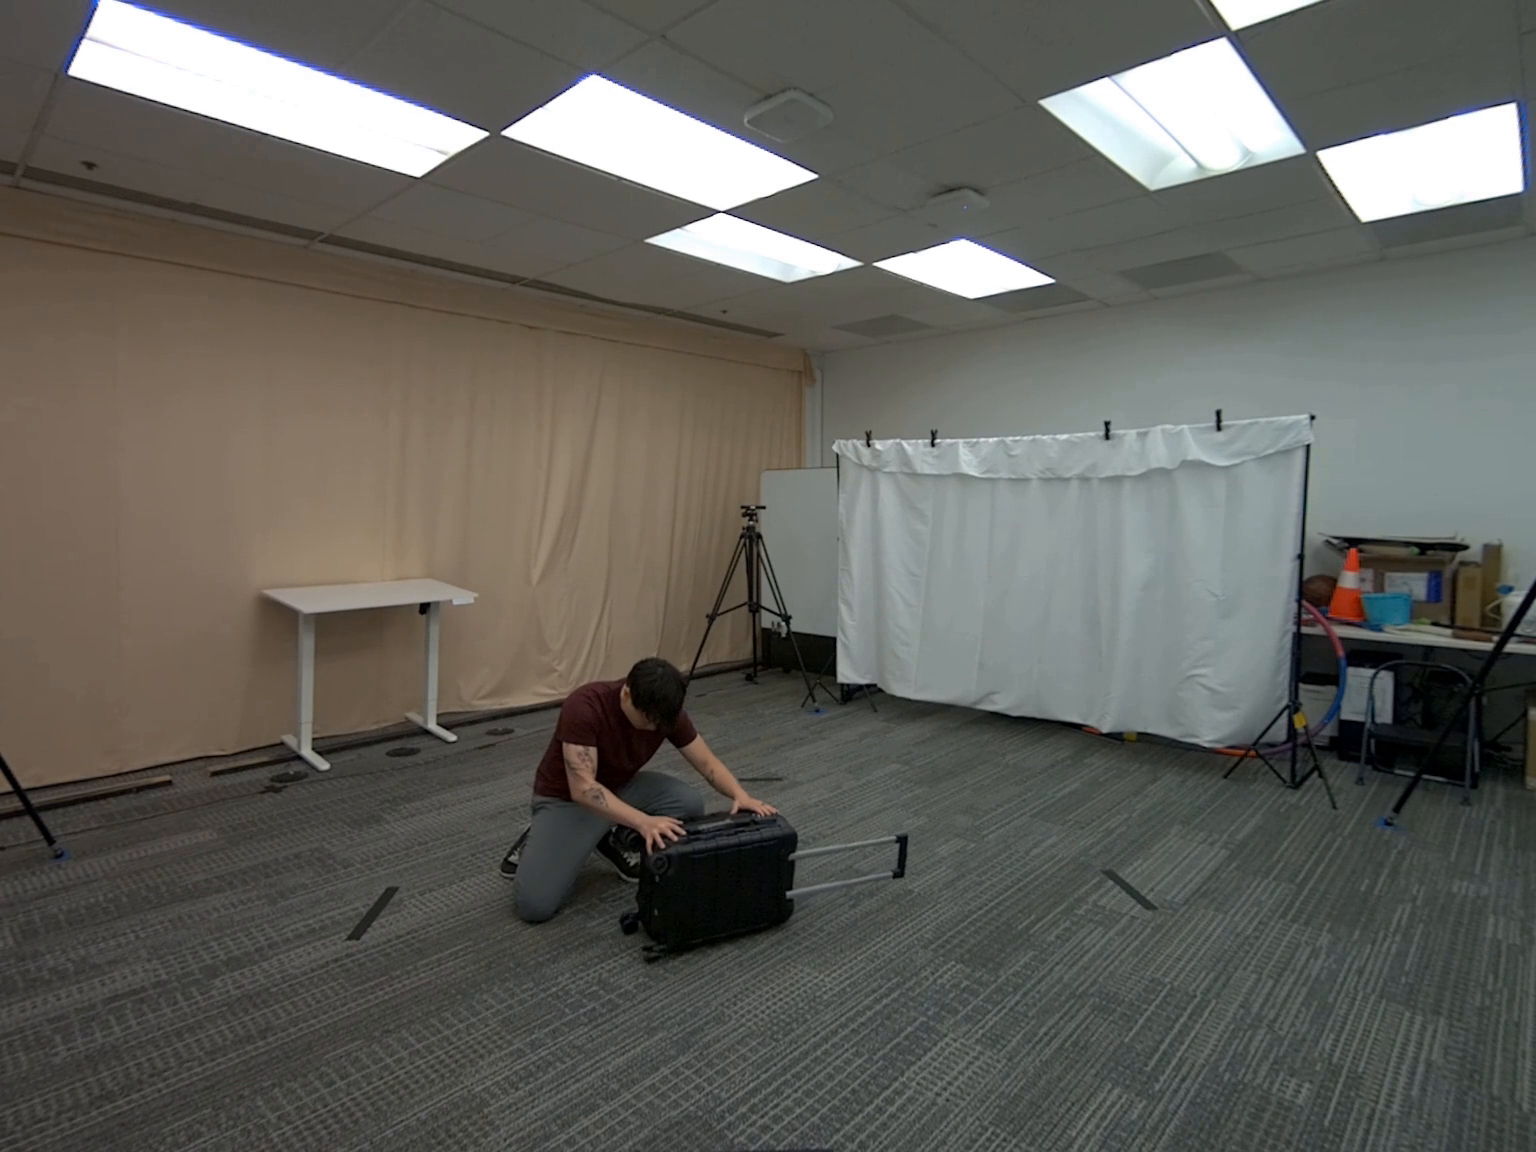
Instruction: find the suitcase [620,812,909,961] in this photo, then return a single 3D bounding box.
[{"bbox_3d":[0.008,0.969,2.847,0.953,0.383,0.265,-2,6,-29],"label":"suitcase"}]
